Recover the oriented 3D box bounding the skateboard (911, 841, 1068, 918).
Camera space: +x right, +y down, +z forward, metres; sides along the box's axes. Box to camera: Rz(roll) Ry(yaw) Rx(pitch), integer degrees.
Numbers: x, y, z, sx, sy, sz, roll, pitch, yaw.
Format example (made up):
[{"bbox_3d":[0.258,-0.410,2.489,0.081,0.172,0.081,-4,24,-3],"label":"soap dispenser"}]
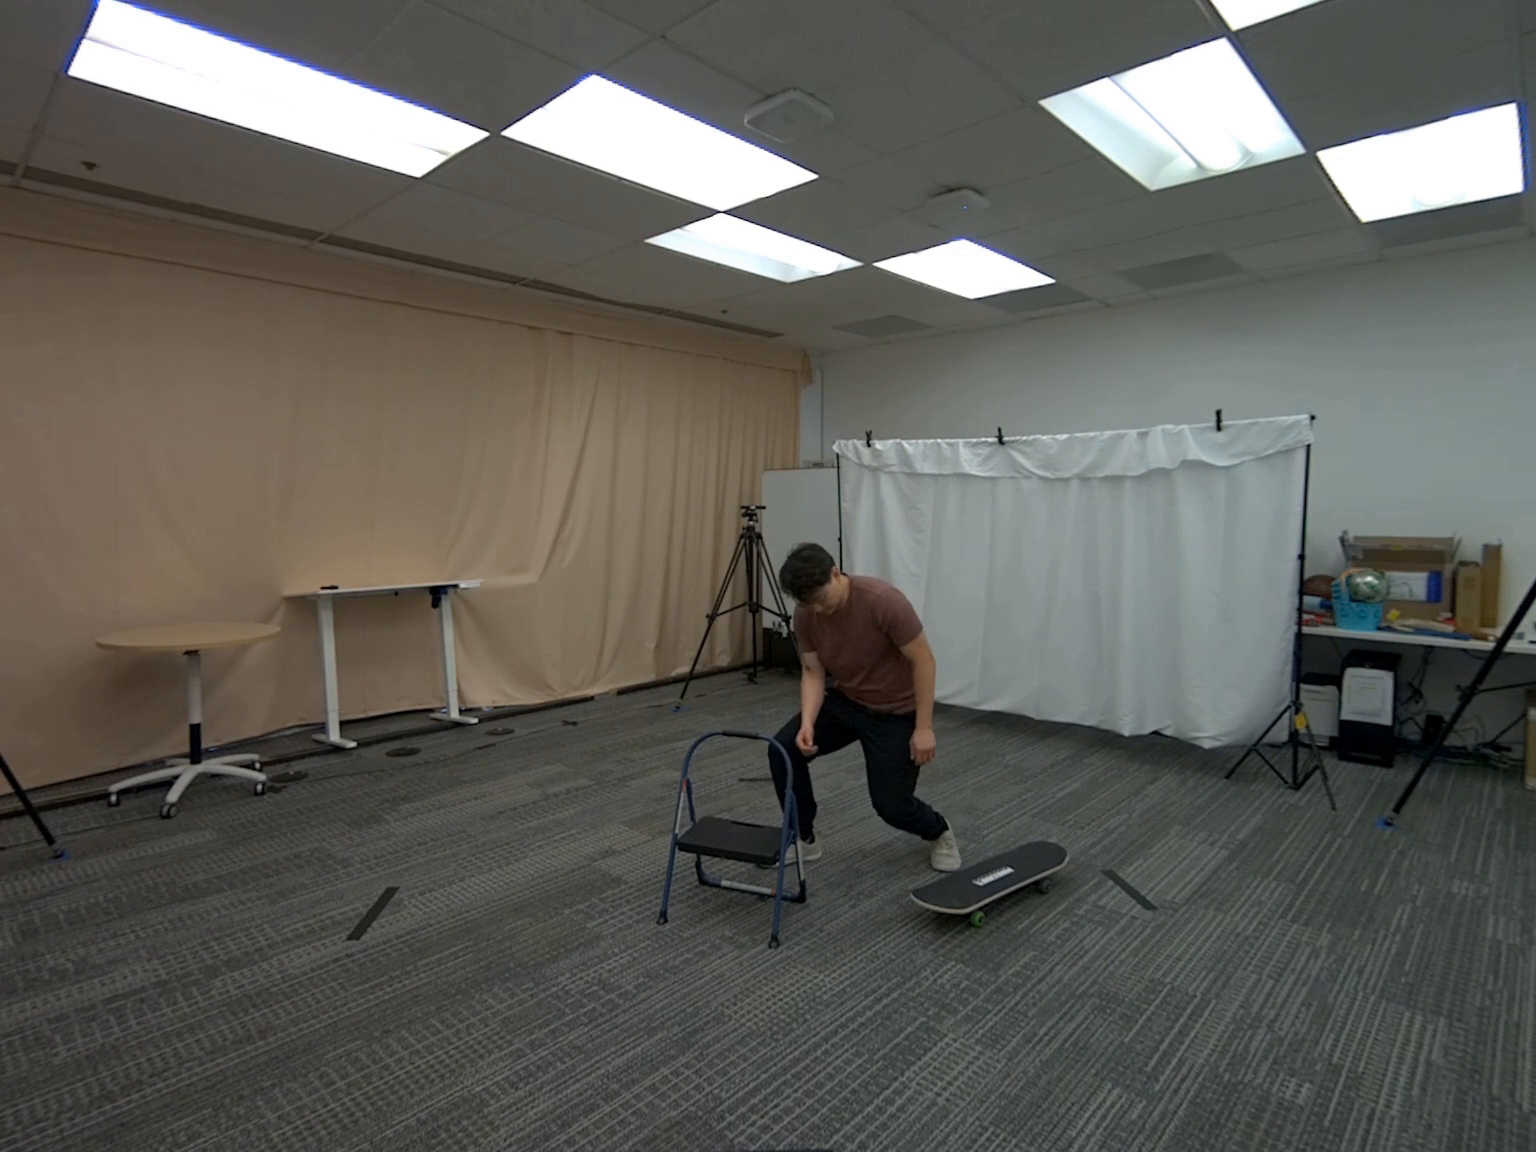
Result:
[{"bbox_3d":[0.800,1.094,2.949,0.762,0.110,0.200,-3,6,-38],"label":"skateboard"}]
